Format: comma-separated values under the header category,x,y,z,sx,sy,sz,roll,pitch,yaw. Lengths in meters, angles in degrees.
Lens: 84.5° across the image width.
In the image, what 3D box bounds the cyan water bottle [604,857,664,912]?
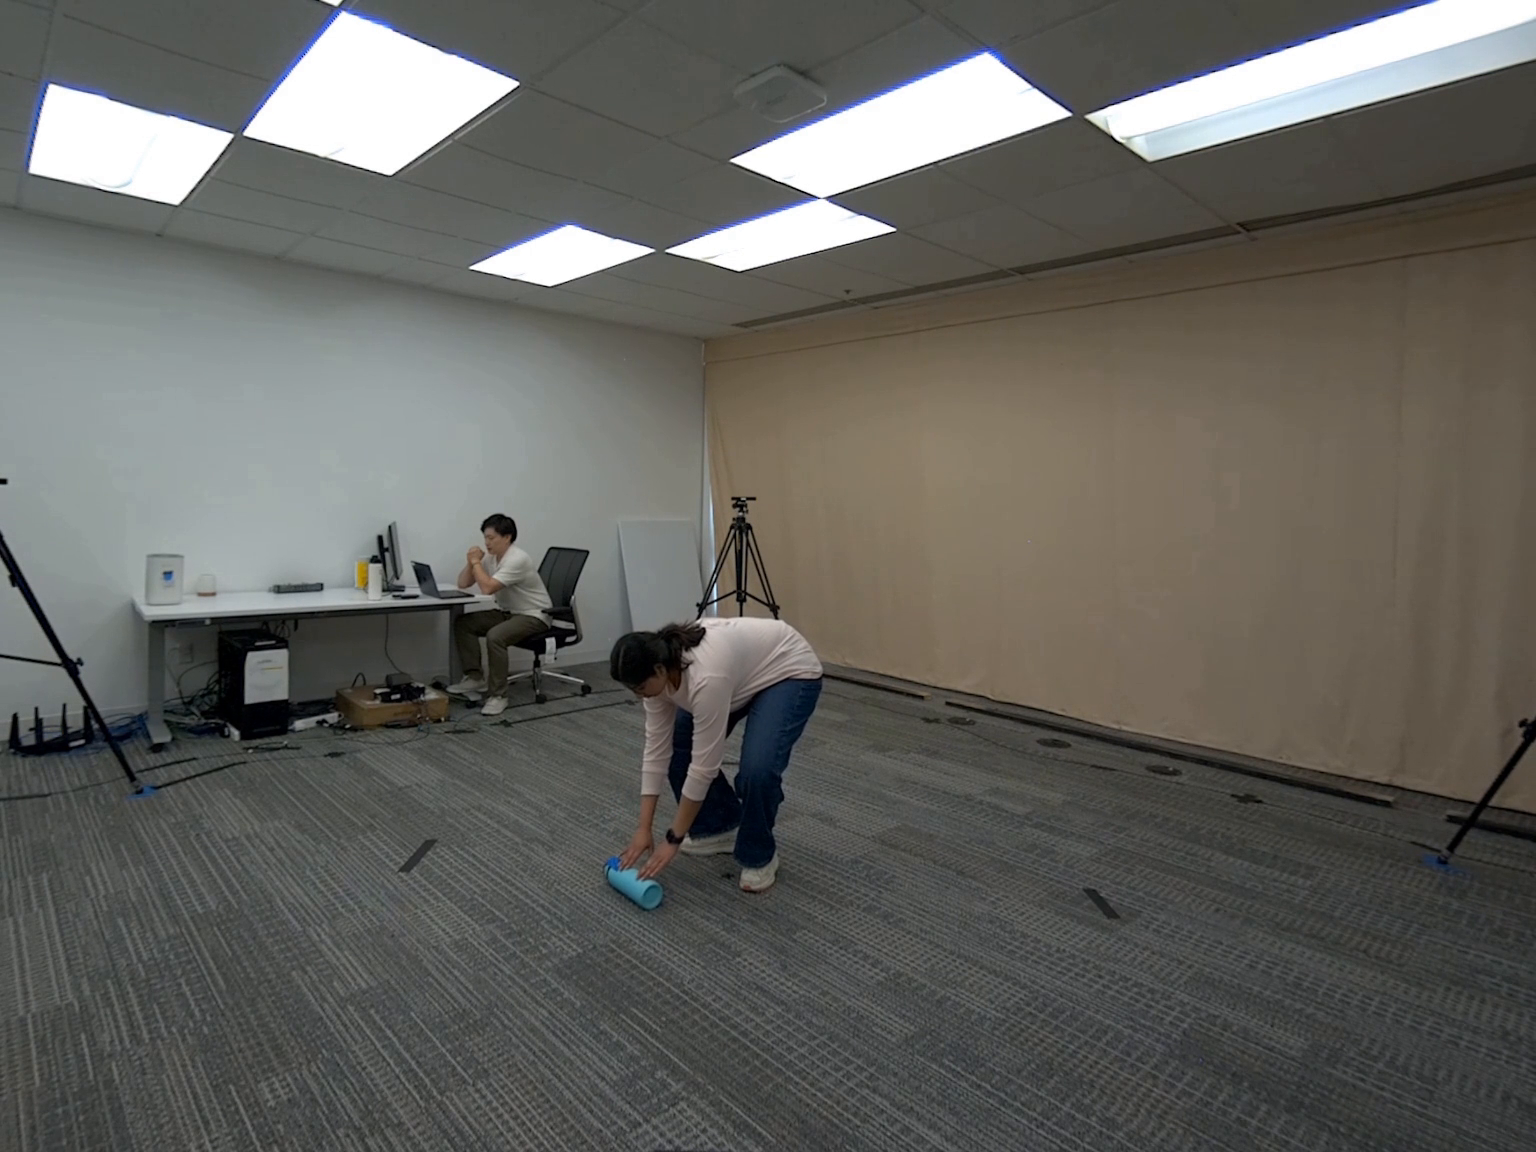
category,x,y,z,sx,sy,sz,roll,pitch,yaw
cyan water bottle,-0.486,1.067,2.941,0.090,0.092,0.291,-2,6,-40
